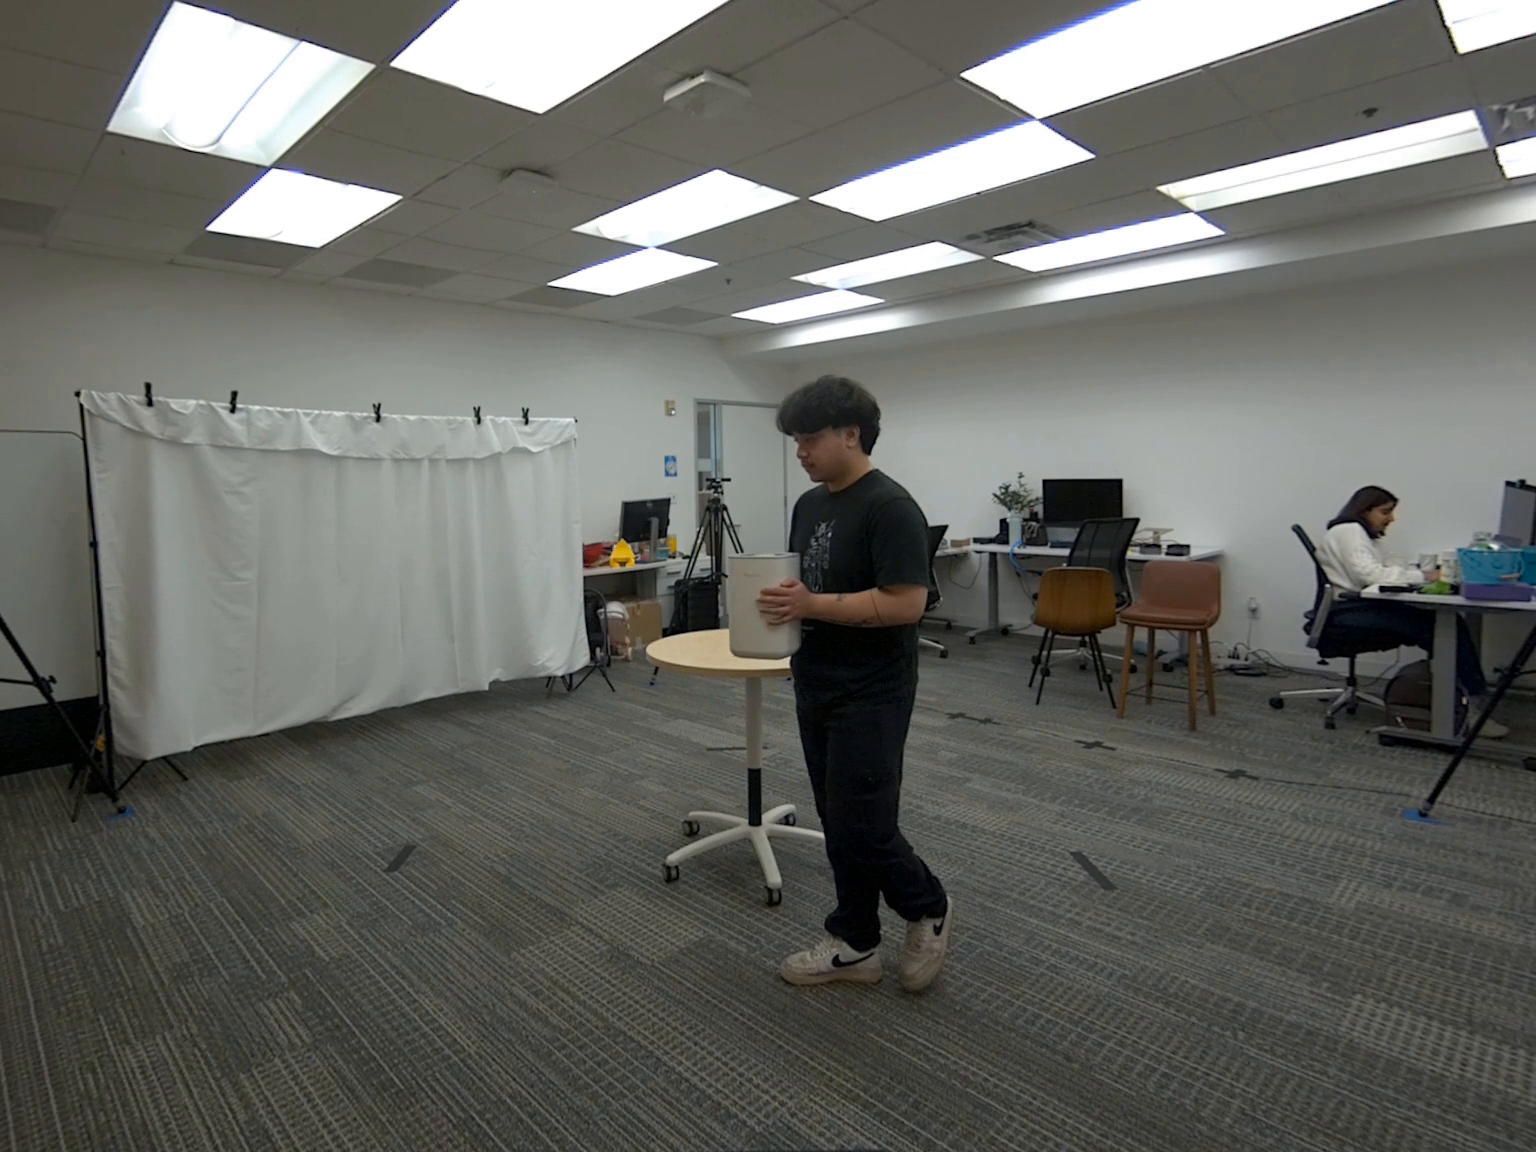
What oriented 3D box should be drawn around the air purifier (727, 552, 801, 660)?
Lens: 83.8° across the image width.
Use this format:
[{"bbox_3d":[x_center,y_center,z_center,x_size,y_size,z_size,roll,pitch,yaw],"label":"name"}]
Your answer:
[{"bbox_3d":[-0.002,0.077,2.225,0.174,0.264,0.169,2,7,20],"label":"air purifier"}]
